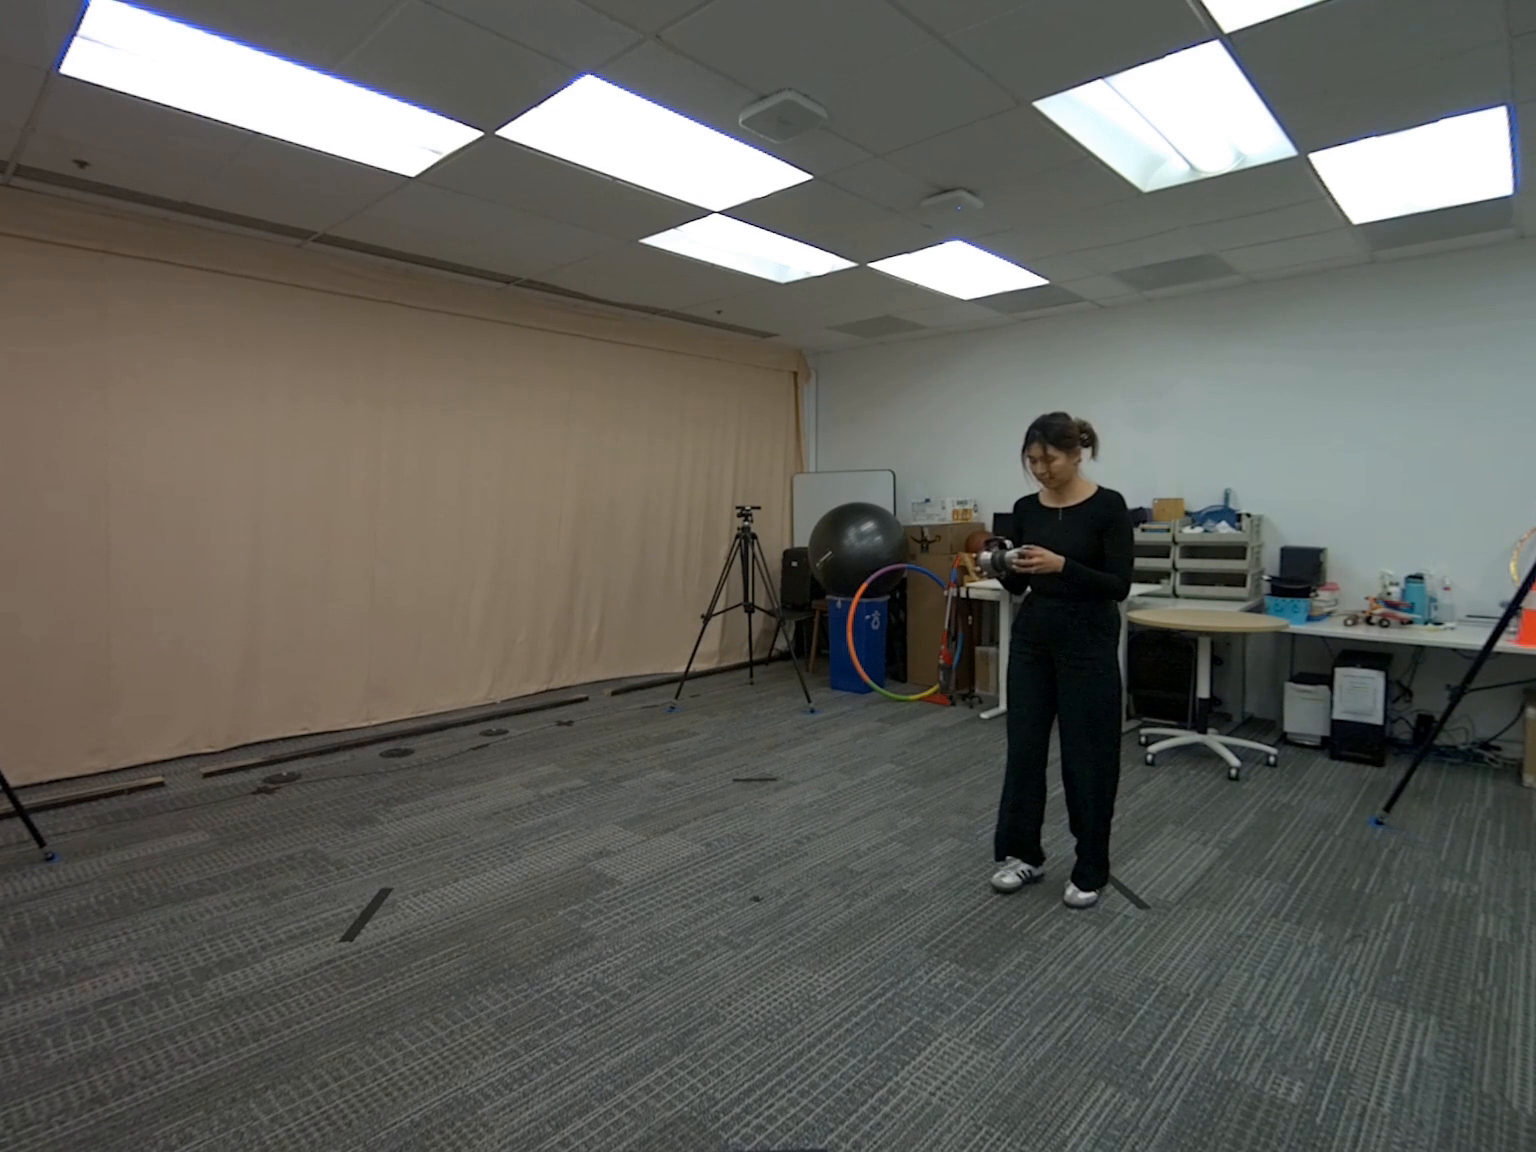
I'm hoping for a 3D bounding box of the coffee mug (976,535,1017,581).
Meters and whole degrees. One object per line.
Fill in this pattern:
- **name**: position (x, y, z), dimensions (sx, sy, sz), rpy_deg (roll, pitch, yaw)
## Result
- **coffee mug**: position (0.787, -0.066, 2.818), dimensions (0.087, 0.121, 0.207), rpy_deg (-32, 9, -22)
